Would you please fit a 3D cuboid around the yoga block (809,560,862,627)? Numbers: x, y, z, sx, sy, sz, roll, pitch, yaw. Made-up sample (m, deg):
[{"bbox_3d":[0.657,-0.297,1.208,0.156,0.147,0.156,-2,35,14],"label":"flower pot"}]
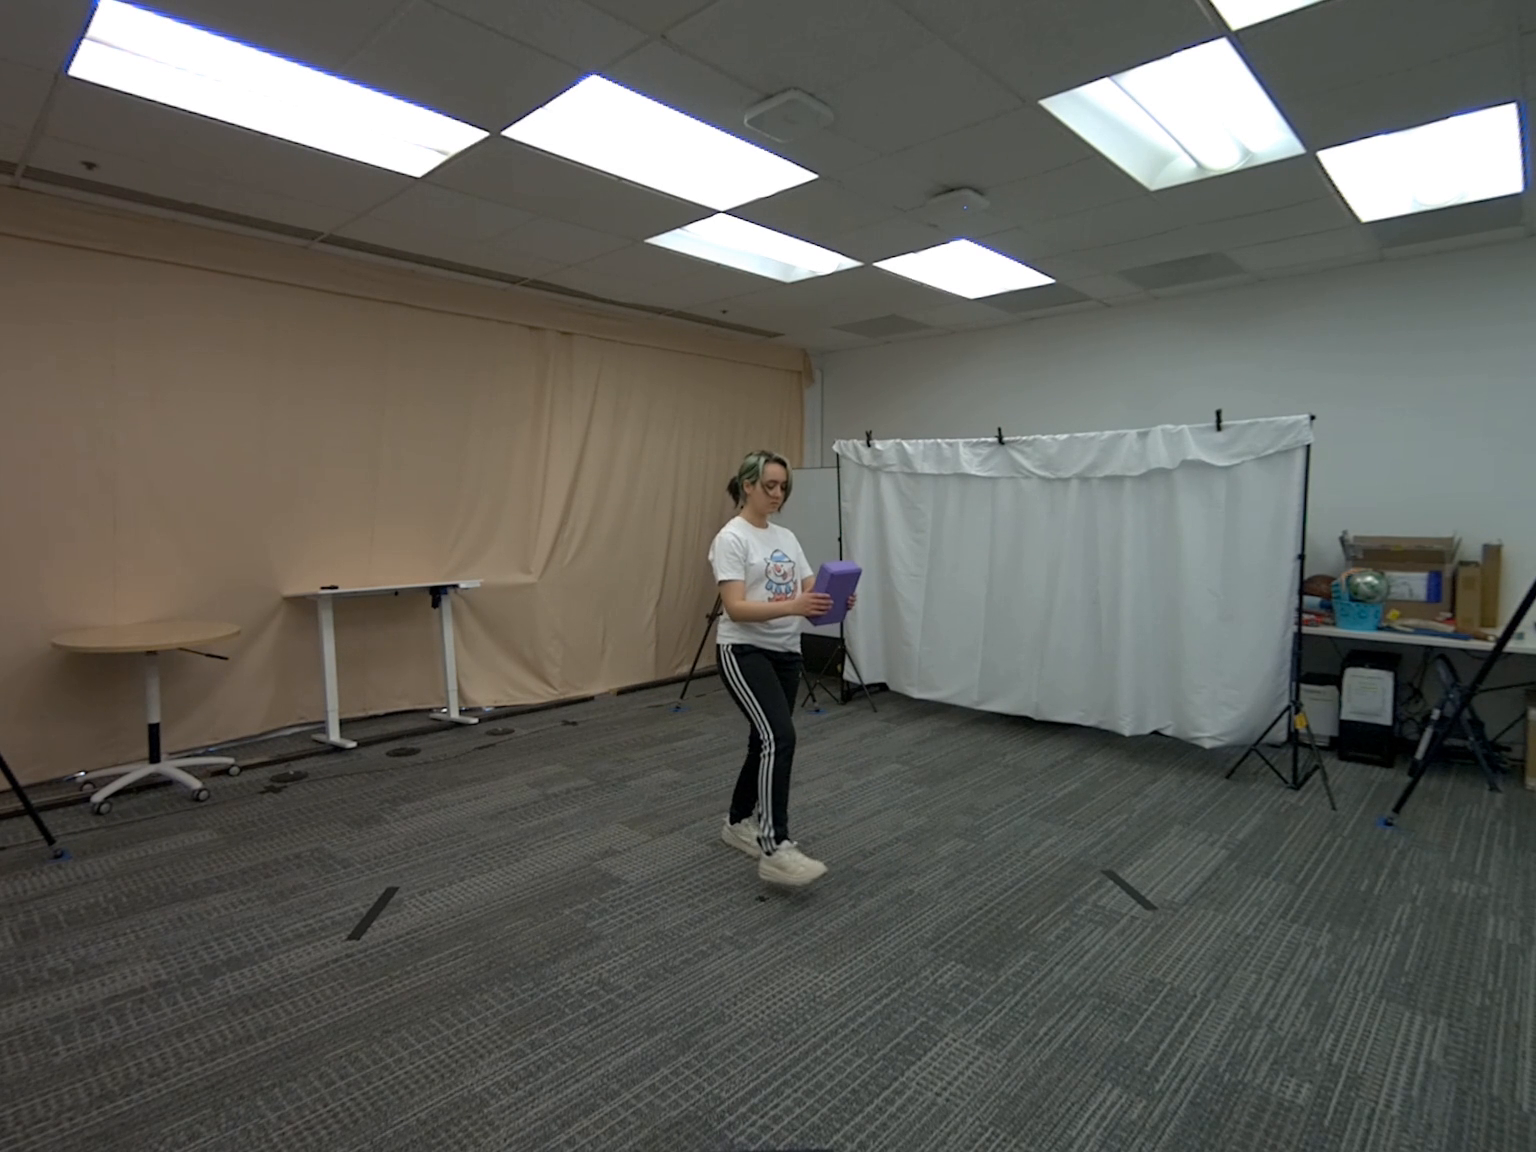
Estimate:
[{"bbox_3d":[0.236,0.064,2.993,0.145,0.228,0.079,-4,33,-36],"label":"yoga block"}]
